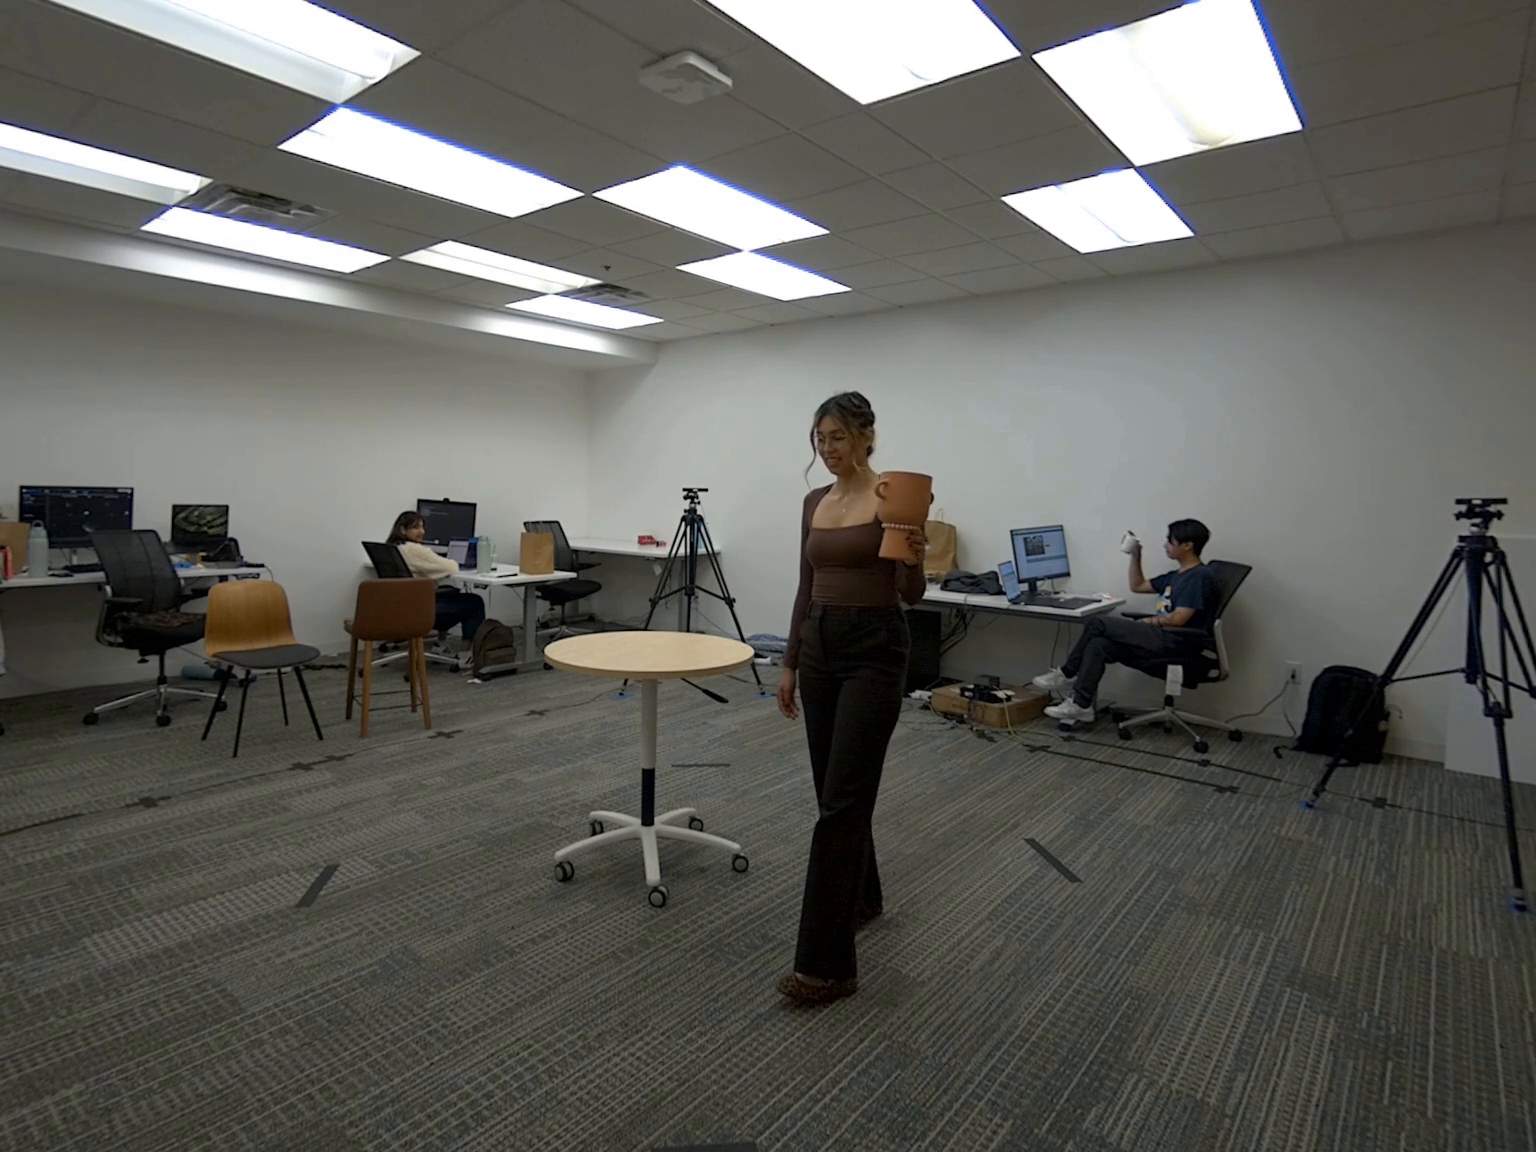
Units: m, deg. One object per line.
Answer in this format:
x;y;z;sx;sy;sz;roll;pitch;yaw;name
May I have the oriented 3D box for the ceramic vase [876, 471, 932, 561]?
0.344;-0.161;2.213;0.160;0.220;0.133;5;-3;6;ceramic vase
